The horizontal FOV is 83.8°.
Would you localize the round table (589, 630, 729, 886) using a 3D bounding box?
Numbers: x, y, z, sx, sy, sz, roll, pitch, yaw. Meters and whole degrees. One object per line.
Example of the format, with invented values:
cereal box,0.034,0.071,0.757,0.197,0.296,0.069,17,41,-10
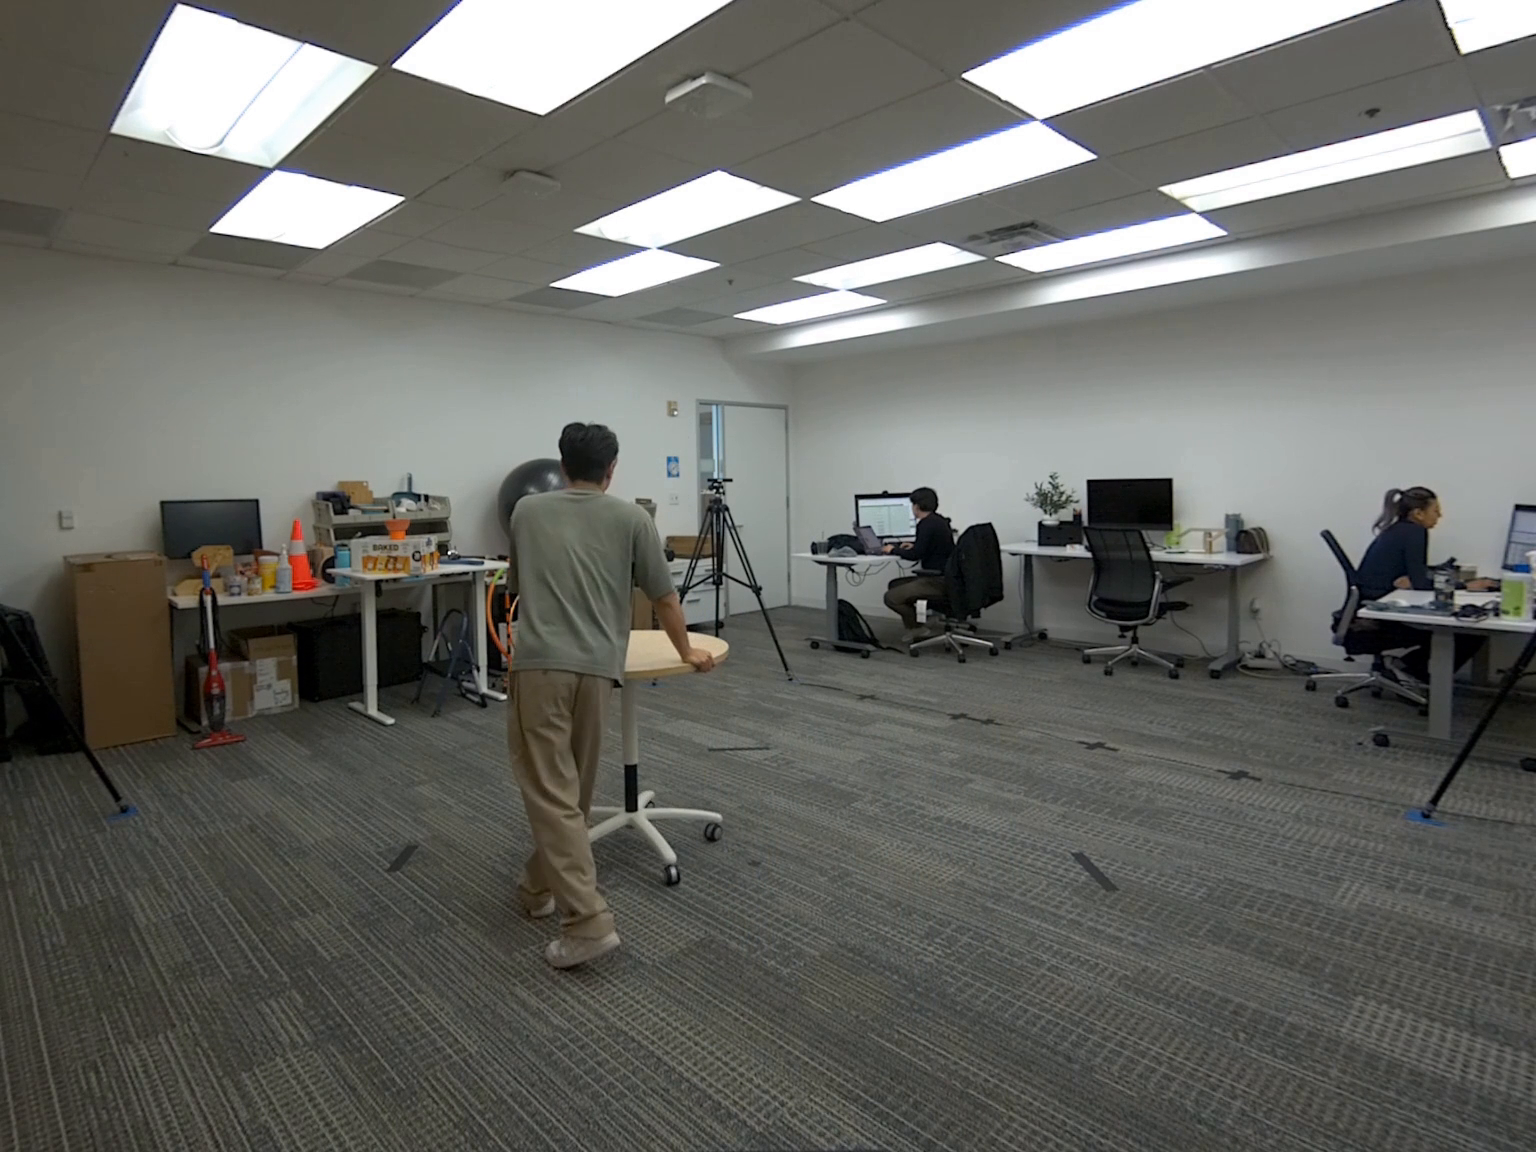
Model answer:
round table,-0.504,0.653,3.243,0.785,0.783,0.789,-2,5,-1
